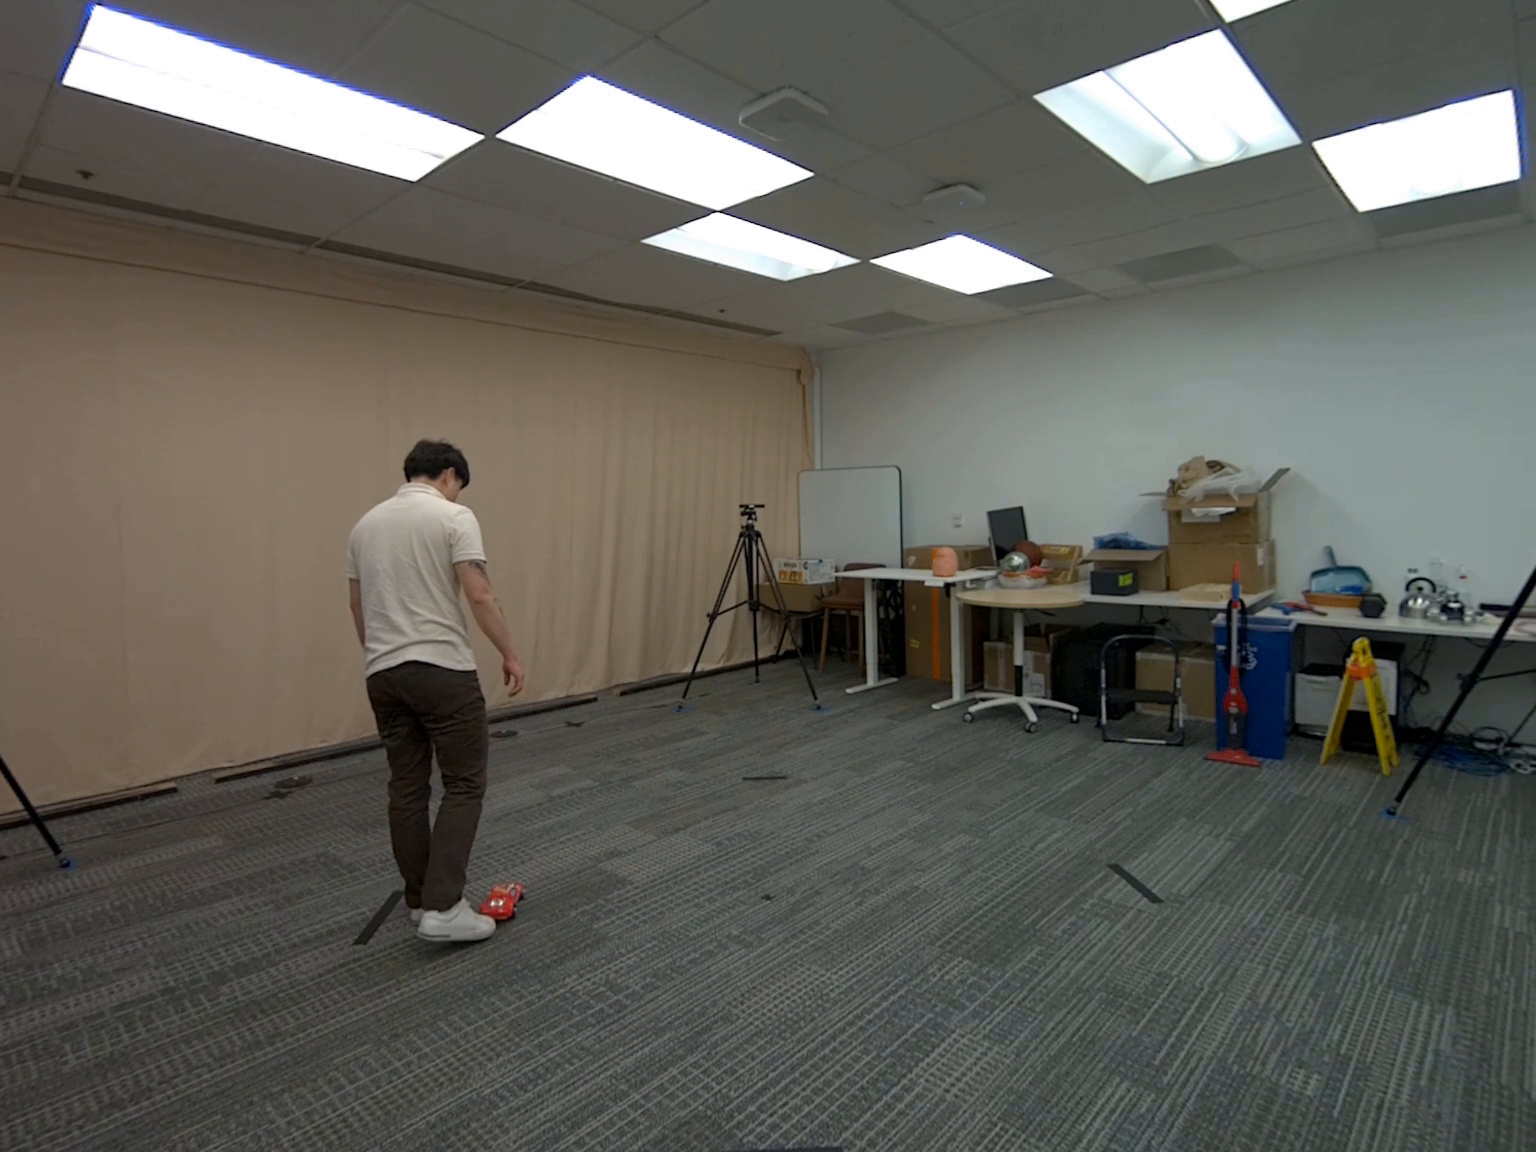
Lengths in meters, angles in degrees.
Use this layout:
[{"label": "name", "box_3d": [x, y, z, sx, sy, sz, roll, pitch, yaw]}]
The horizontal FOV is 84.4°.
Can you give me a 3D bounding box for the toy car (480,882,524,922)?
[{"label": "toy car", "box_3d": [-0.932, 1.137, 2.927, 0.130, 0.083, 0.254, 0, -6, -3]}]
